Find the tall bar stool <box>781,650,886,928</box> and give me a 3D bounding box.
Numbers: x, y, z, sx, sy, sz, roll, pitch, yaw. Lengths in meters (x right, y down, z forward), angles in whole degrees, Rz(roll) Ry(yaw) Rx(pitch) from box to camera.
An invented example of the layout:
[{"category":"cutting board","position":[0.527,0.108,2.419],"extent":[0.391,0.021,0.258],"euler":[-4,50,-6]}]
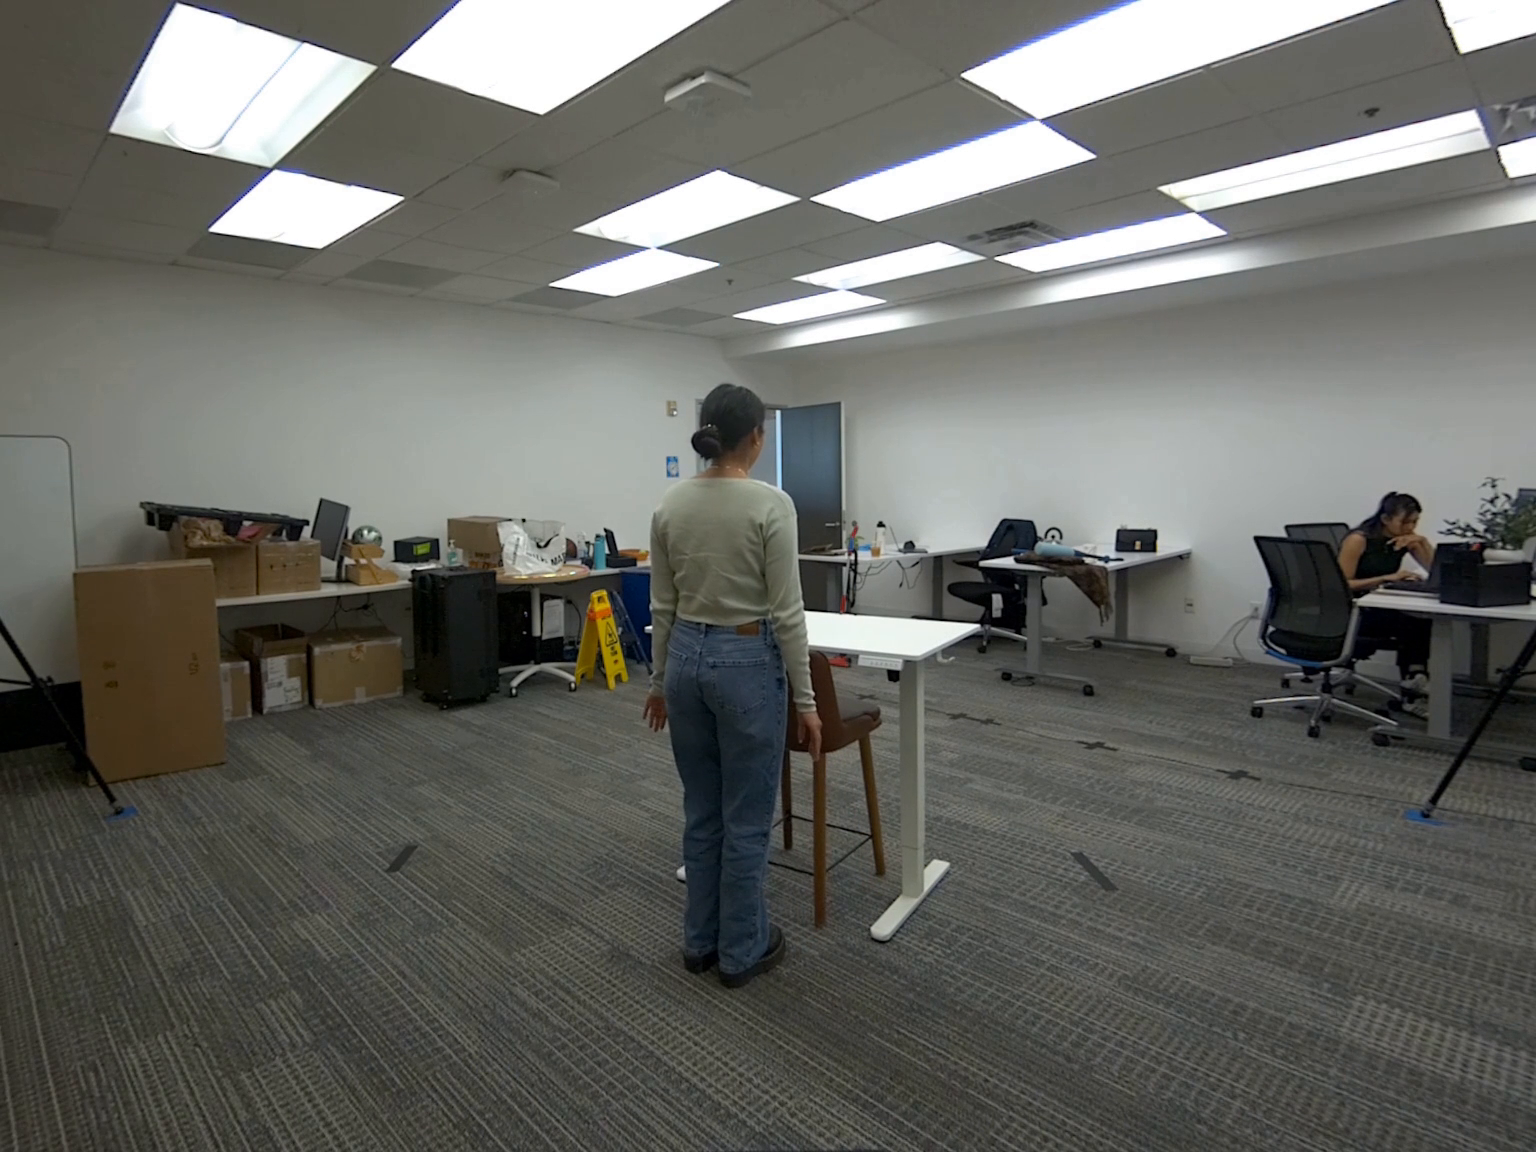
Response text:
[{"category":"tall bar stool","position":[0.120,0.633,2.904],"extent":[0.469,0.885,0.457],"euler":[2,7,33]}]
